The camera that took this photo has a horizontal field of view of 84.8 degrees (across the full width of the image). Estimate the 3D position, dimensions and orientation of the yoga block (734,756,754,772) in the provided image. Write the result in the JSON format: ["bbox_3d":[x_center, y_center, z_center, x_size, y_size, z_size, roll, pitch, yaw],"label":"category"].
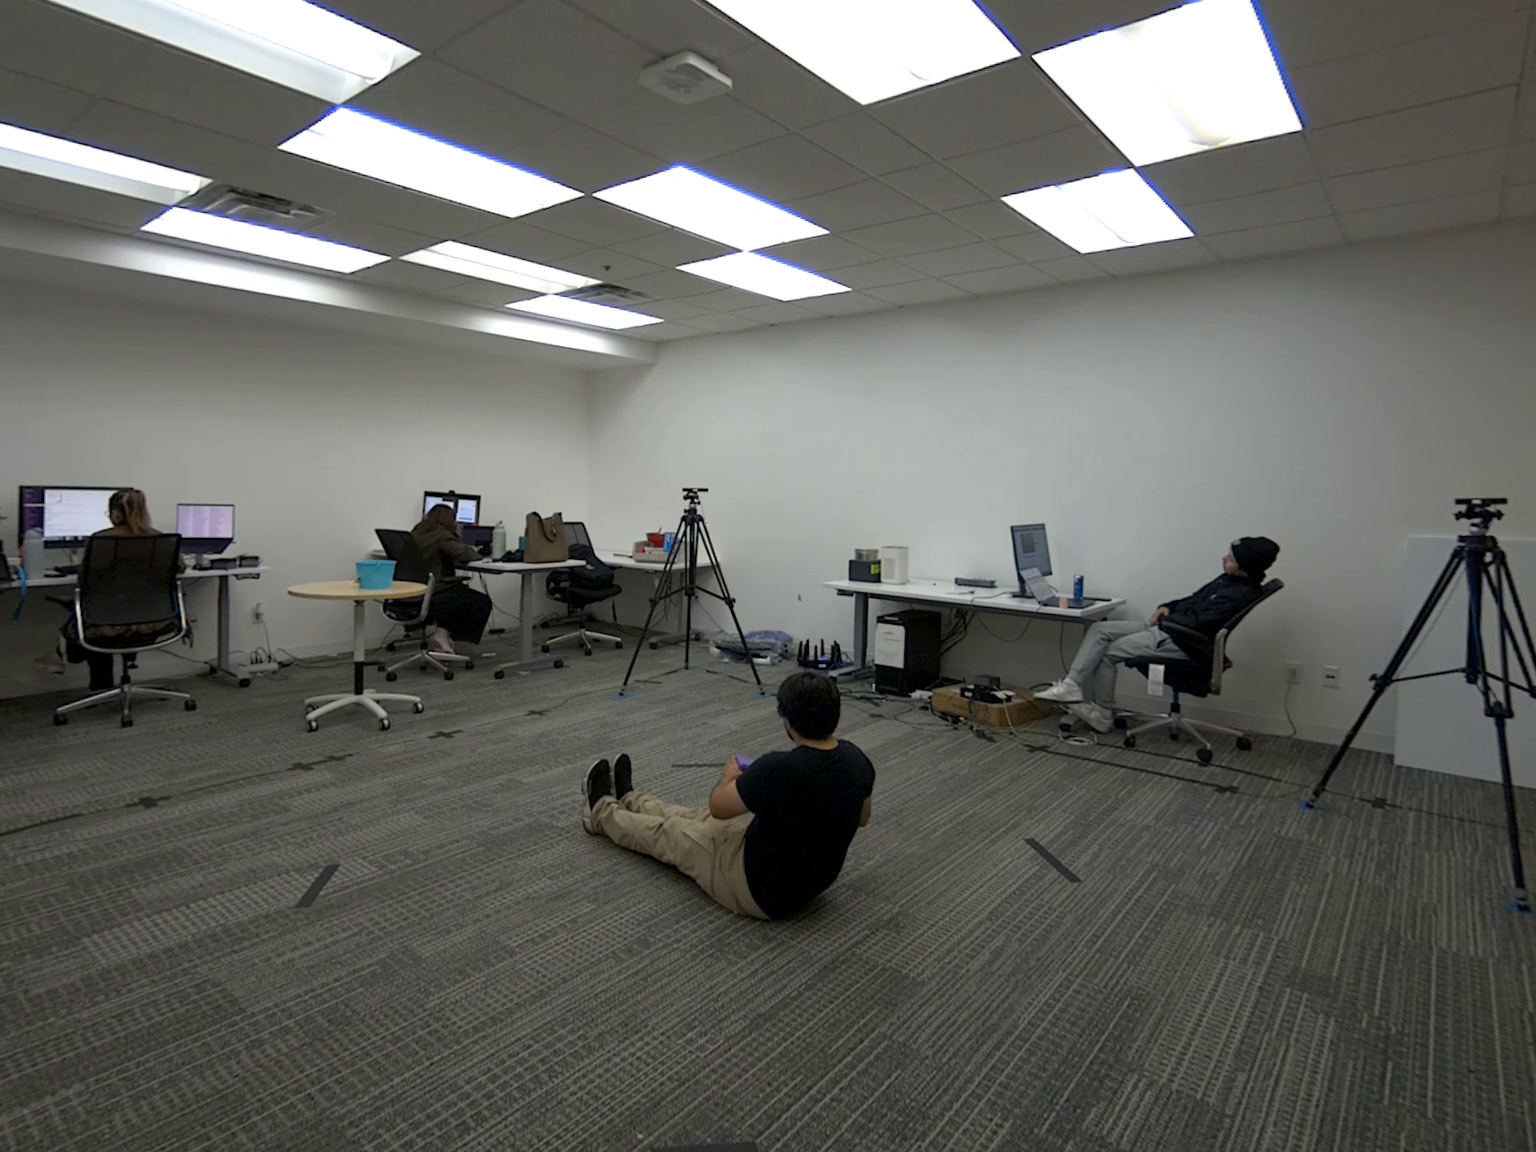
[{"bbox_3d":[-0.039,0.780,3.192,0.223,0.148,0.079,23,14,-21],"label":"yoga block"}]
